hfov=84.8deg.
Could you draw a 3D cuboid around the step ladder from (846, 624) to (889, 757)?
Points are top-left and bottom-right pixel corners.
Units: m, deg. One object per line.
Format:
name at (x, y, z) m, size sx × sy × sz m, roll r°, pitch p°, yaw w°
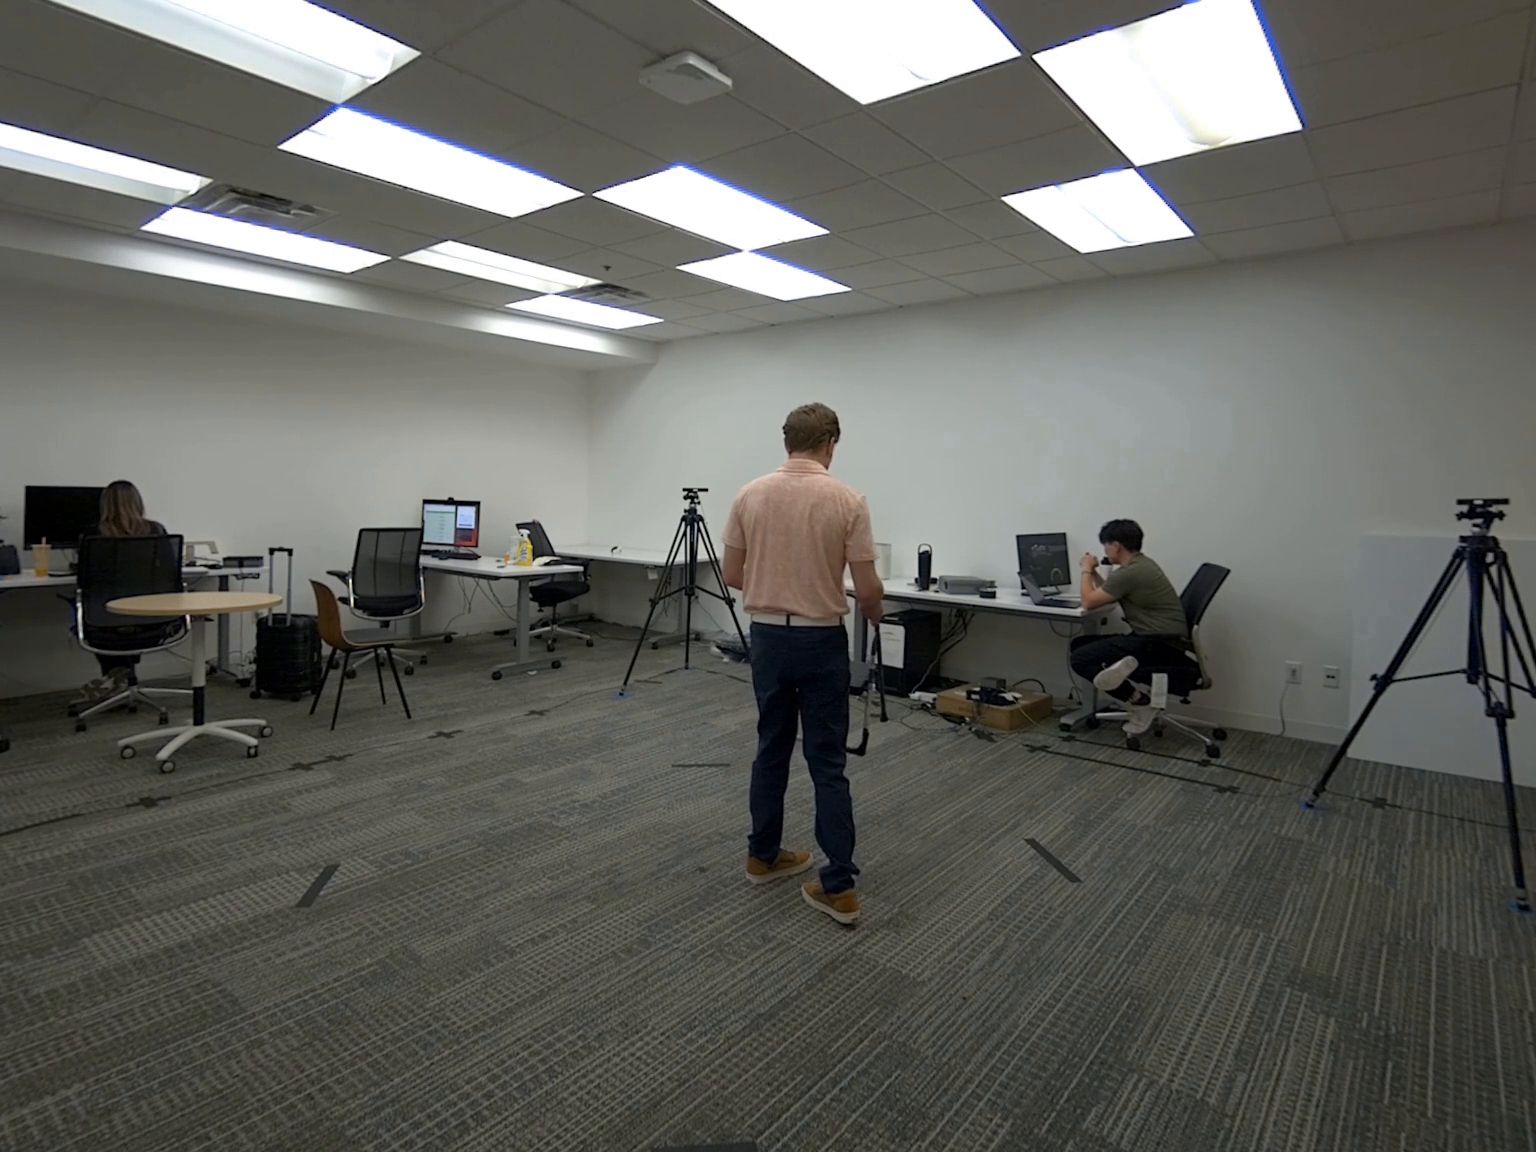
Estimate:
step ladder at (0.212, 0.300, 3.265) m, size 0.442 × 0.597 × 0.345 m, roll 6°, pitch 16°, yaw 23°
